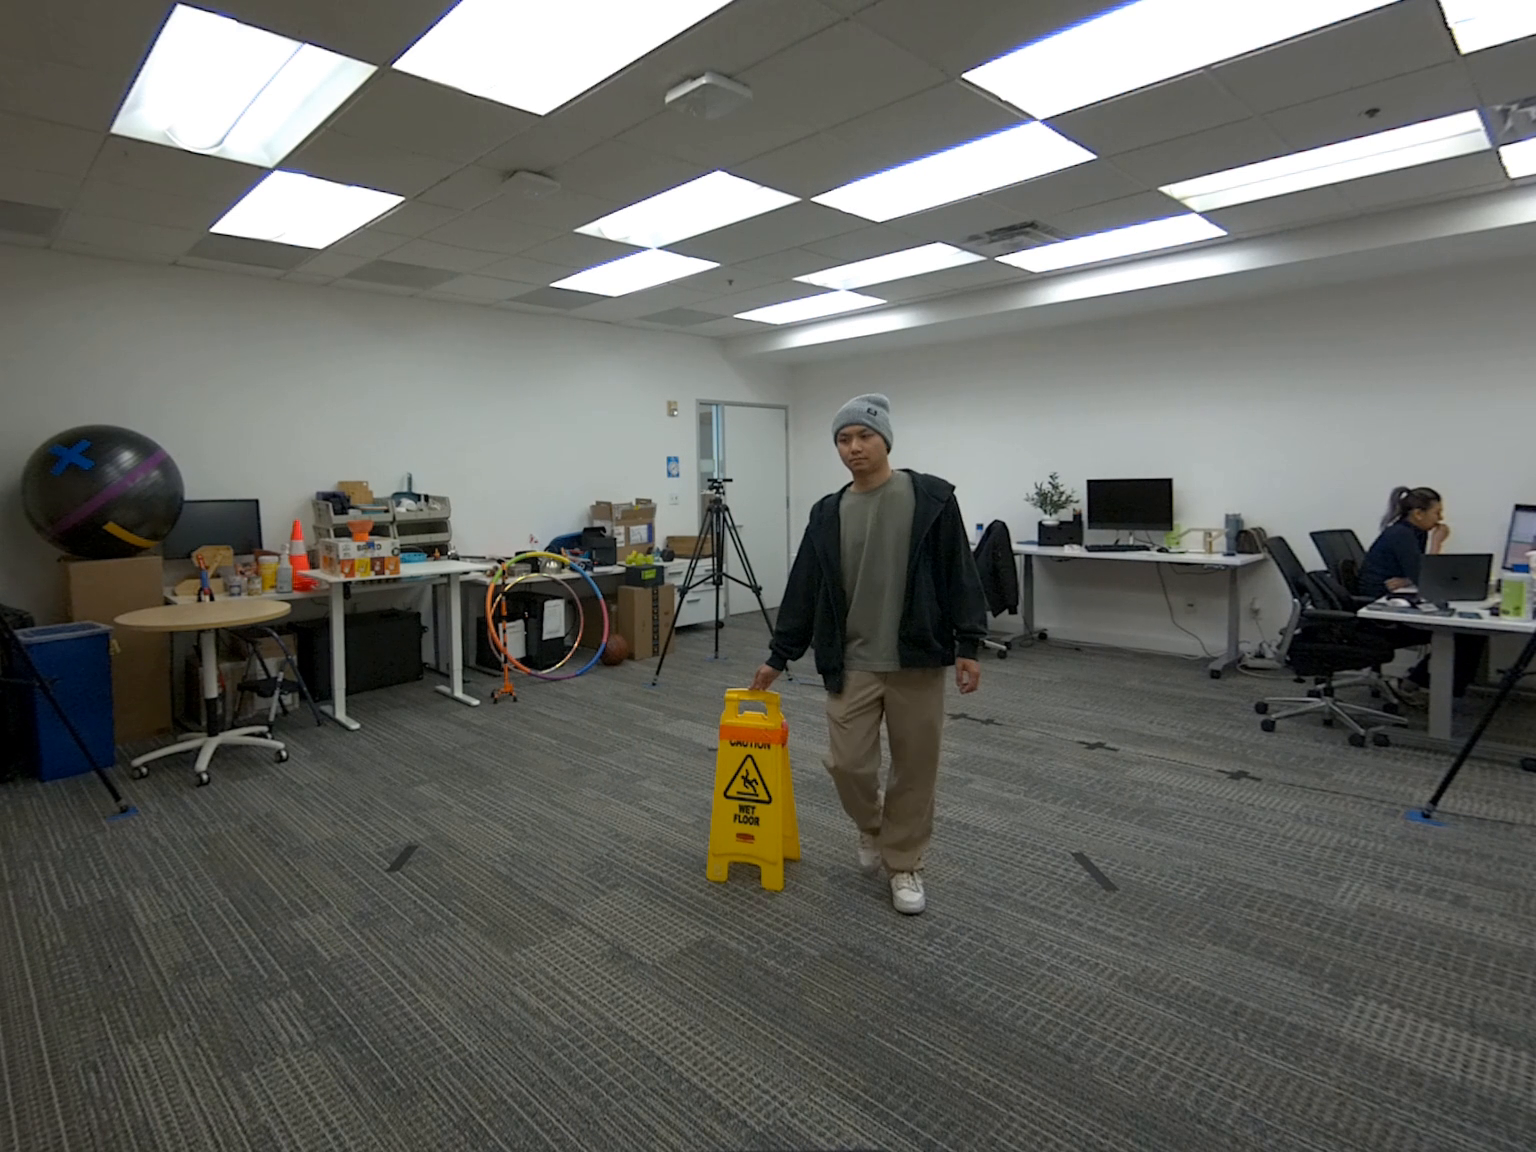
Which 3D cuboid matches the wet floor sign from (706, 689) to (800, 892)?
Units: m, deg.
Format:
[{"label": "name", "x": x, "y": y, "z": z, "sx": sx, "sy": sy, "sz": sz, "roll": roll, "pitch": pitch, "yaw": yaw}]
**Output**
[{"label": "wet floor sign", "x": -0.051, "y": 0.728, "z": 3.034, "sx": 0.287, "sy": 0.644, "sz": 0.286, "roll": -1, "pitch": 4, "yaw": 17}]
